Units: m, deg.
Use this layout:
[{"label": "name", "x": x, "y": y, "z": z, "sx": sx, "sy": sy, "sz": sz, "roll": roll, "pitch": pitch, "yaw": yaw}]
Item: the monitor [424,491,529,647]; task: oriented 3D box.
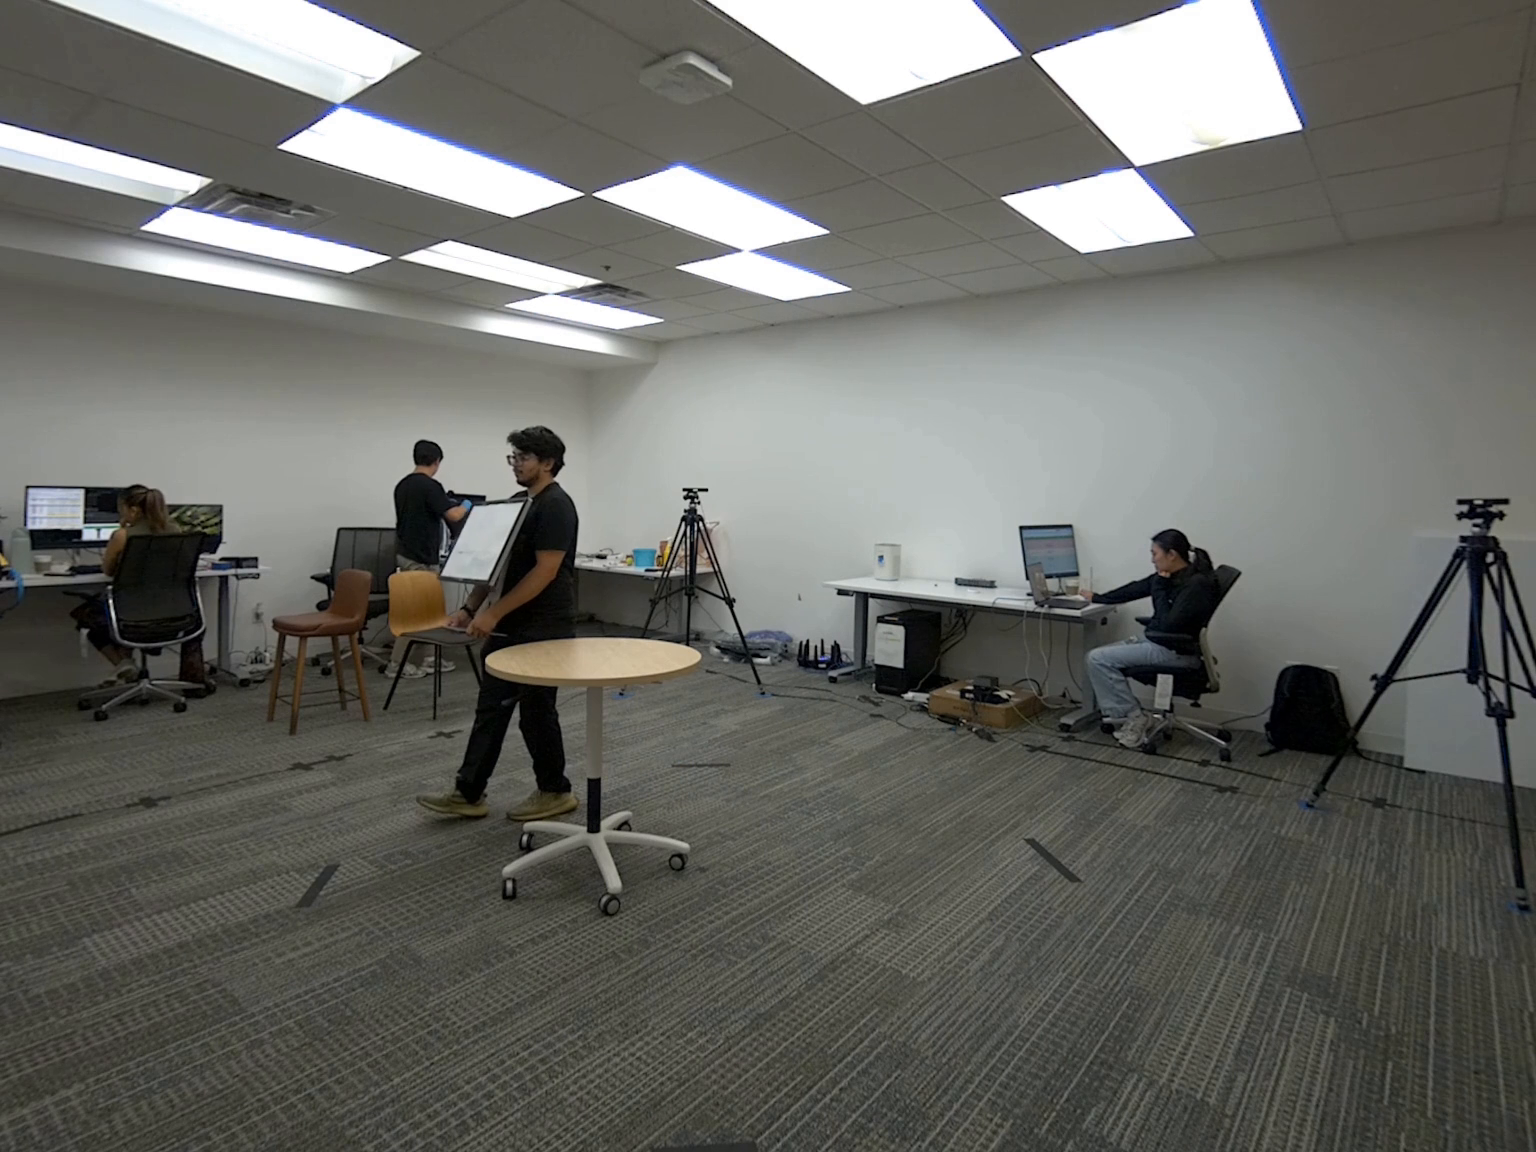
[{"label": "monitor", "x": -1.124, "y": -0.037, "z": 3.430, "sx": 0.202, "sy": 0.558, "sz": 0.583, "roll": 23, "pitch": -13, "yaw": -37}]
